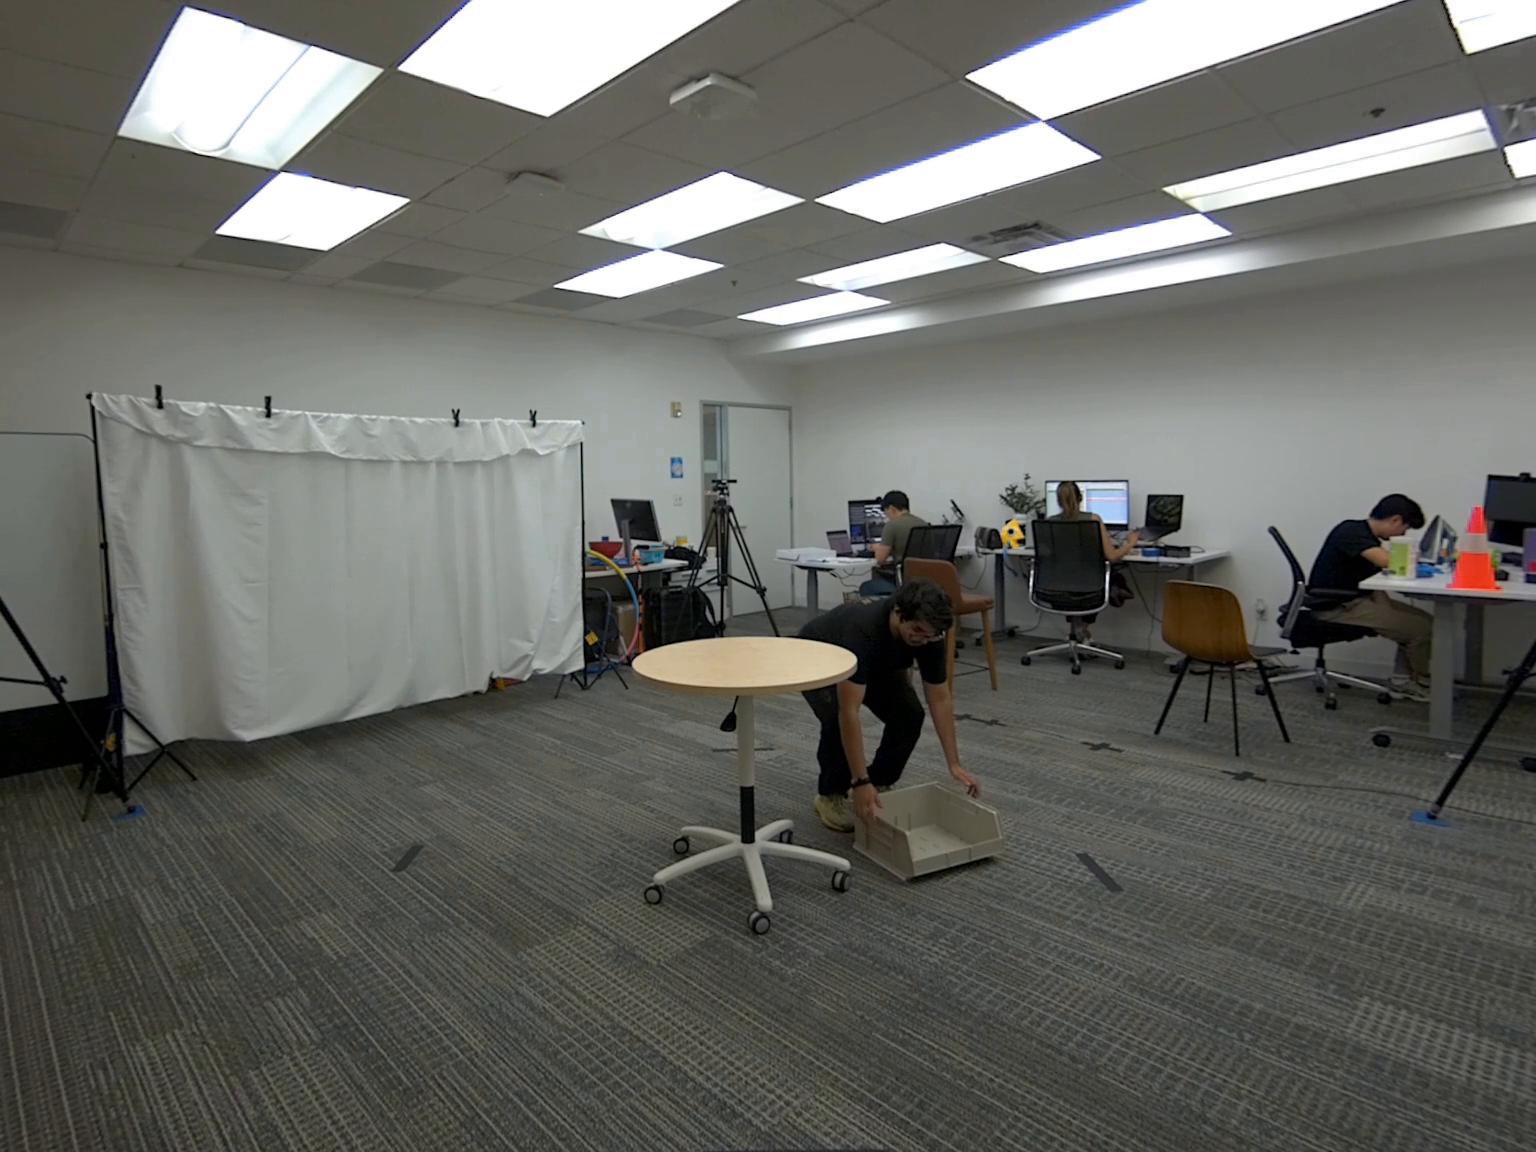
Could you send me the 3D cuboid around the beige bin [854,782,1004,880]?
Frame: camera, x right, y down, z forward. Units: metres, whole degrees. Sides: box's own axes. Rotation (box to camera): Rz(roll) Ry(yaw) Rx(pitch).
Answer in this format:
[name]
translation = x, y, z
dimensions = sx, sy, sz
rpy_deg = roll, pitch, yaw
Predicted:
[beige bin]
translation = 0.587, 0.940, 3.167
dimensions = 0.413, 0.188, 0.387
rpy_deg = -5, 6, -28
